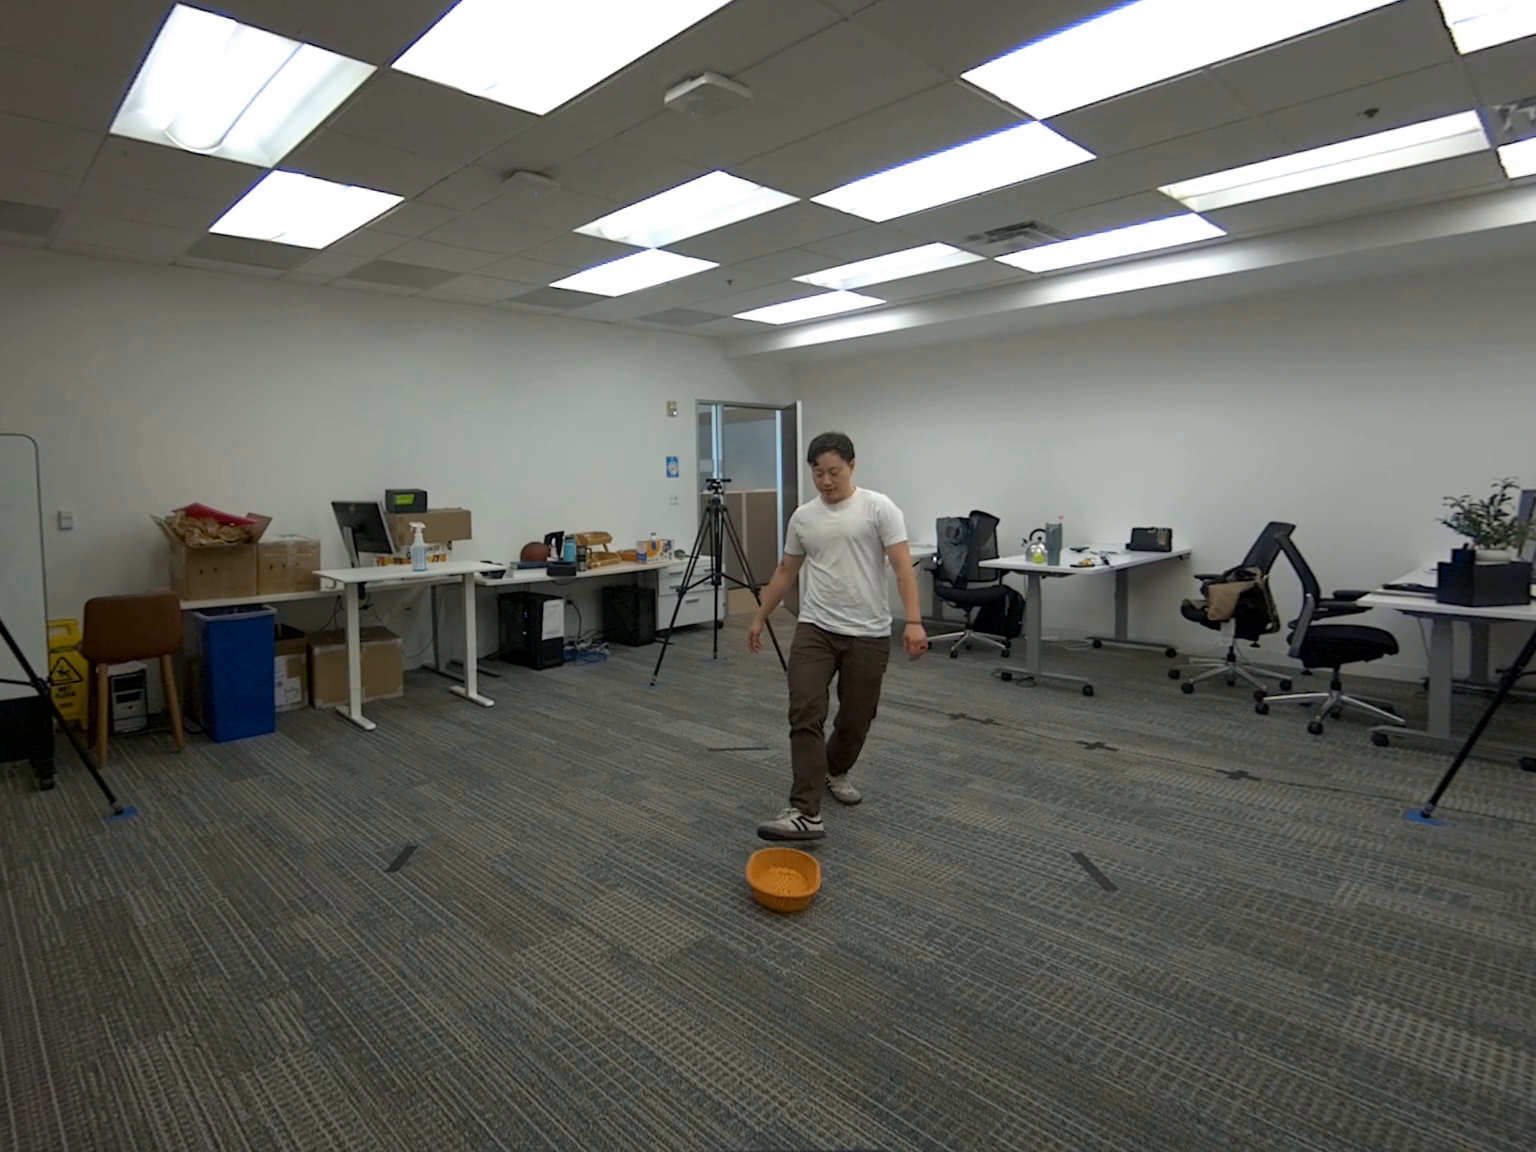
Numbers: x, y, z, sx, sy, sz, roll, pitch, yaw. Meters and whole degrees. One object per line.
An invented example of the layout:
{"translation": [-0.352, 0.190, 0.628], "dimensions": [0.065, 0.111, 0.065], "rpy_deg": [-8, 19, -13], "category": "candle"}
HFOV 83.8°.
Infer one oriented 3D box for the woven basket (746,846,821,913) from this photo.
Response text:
{"translation": [0.055, 1.018, 2.901], "dimensions": [0.255, 0.073, 0.349], "rpy_deg": [5, 7, 8], "category": "woven basket"}
